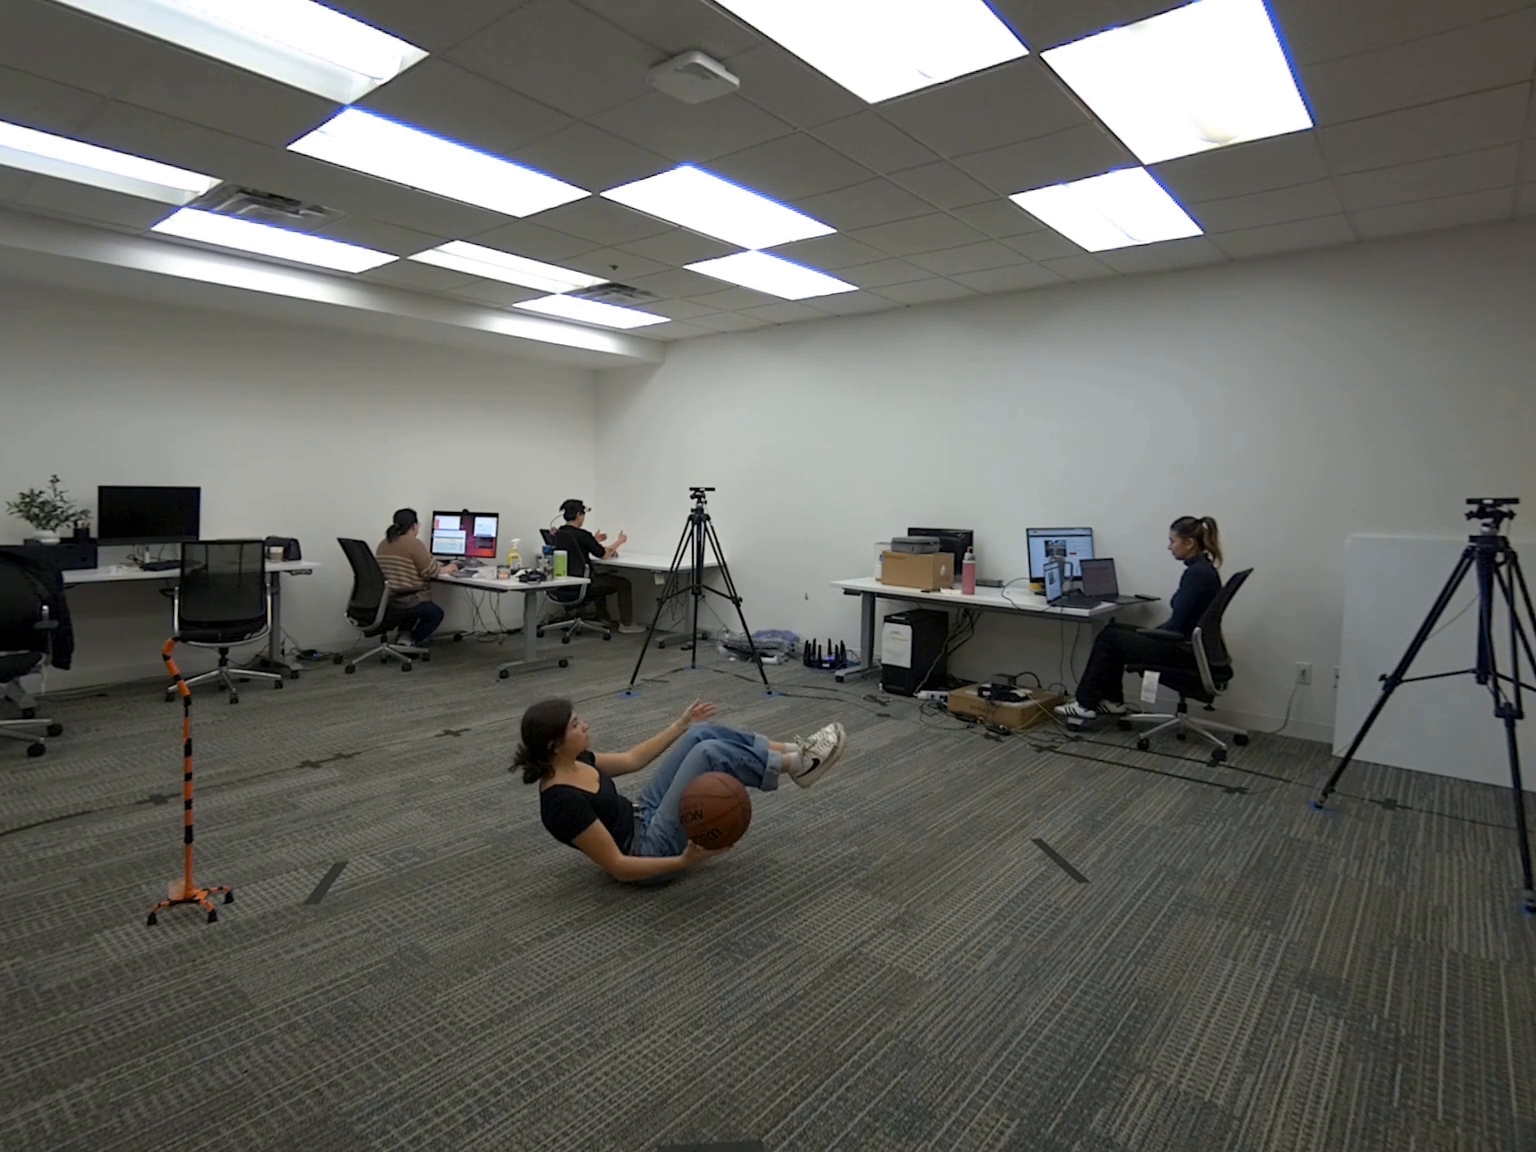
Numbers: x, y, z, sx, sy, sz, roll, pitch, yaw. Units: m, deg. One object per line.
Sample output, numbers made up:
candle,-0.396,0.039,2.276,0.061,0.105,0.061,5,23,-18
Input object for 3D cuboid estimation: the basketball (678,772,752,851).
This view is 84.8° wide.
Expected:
basketball,-0.186,0.749,2.772,0.235,0.235,0.237,1,4,-2
